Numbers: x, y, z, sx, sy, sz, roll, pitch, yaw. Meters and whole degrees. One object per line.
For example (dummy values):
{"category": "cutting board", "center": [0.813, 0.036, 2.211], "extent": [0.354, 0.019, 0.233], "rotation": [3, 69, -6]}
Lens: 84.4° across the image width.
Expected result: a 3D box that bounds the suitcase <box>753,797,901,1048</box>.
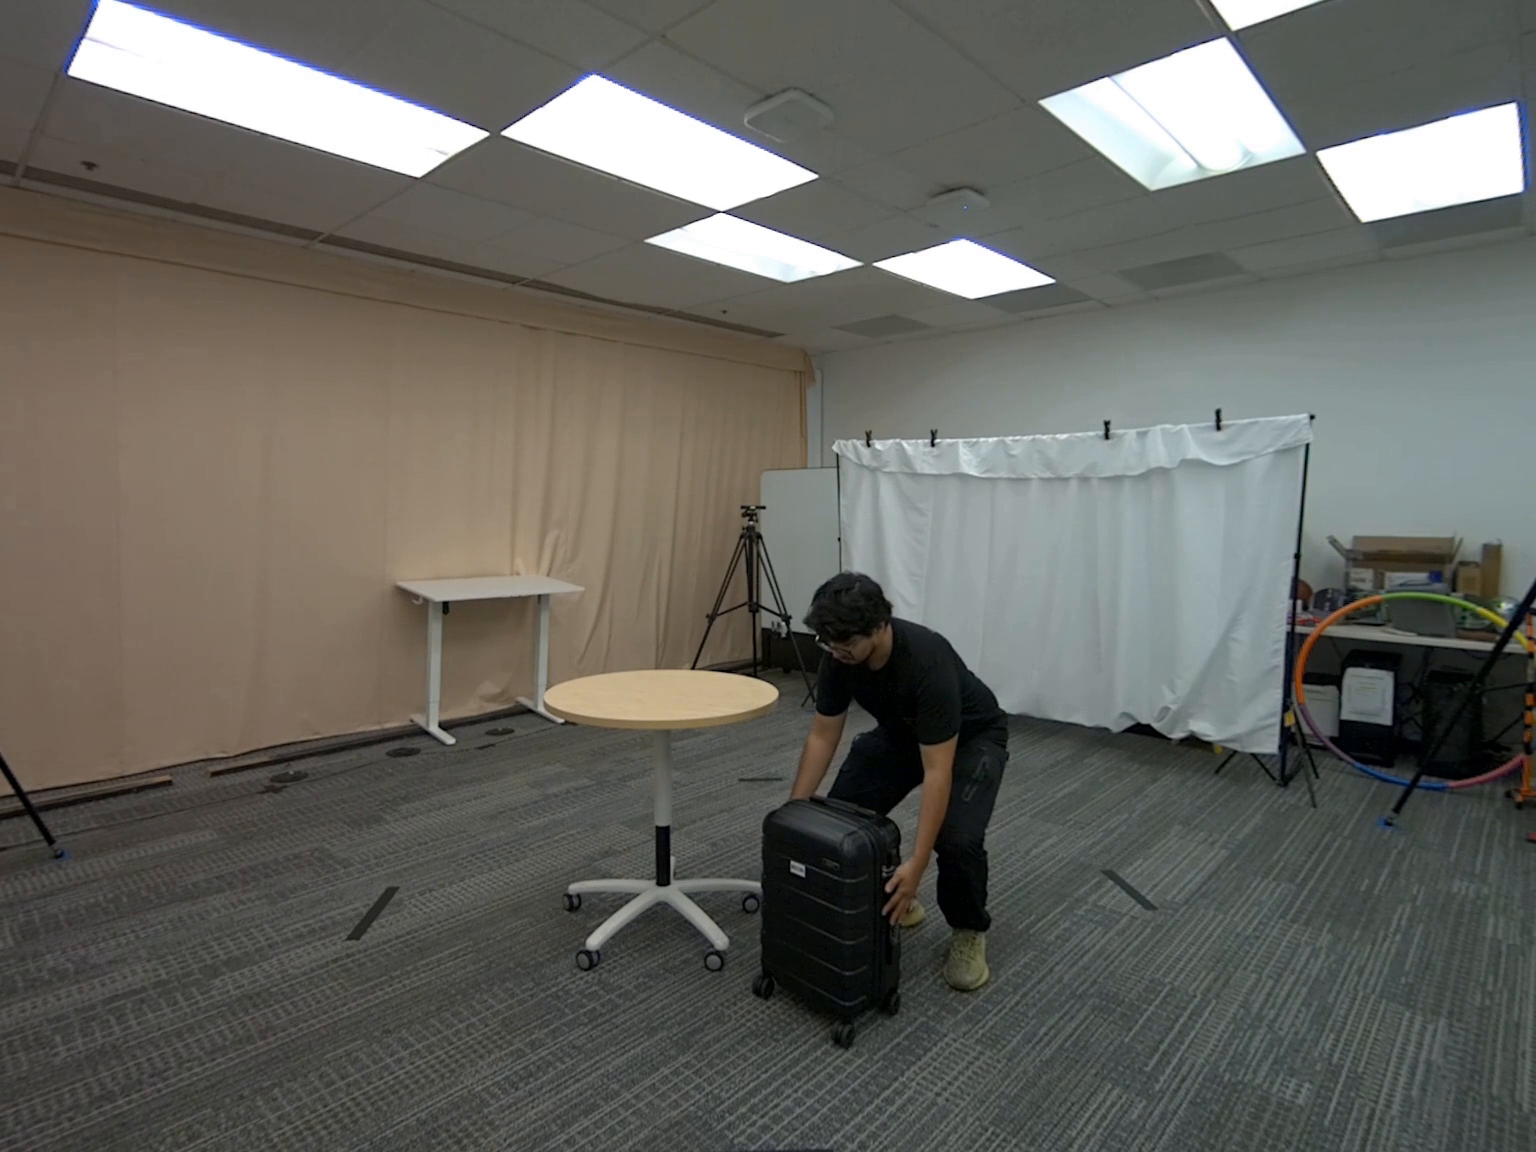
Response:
{"category": "suitcase", "center": [0.172, 0.928, 2.342], "extent": [0.240, 0.548, 0.388], "rotation": [-2, 3, -43]}
